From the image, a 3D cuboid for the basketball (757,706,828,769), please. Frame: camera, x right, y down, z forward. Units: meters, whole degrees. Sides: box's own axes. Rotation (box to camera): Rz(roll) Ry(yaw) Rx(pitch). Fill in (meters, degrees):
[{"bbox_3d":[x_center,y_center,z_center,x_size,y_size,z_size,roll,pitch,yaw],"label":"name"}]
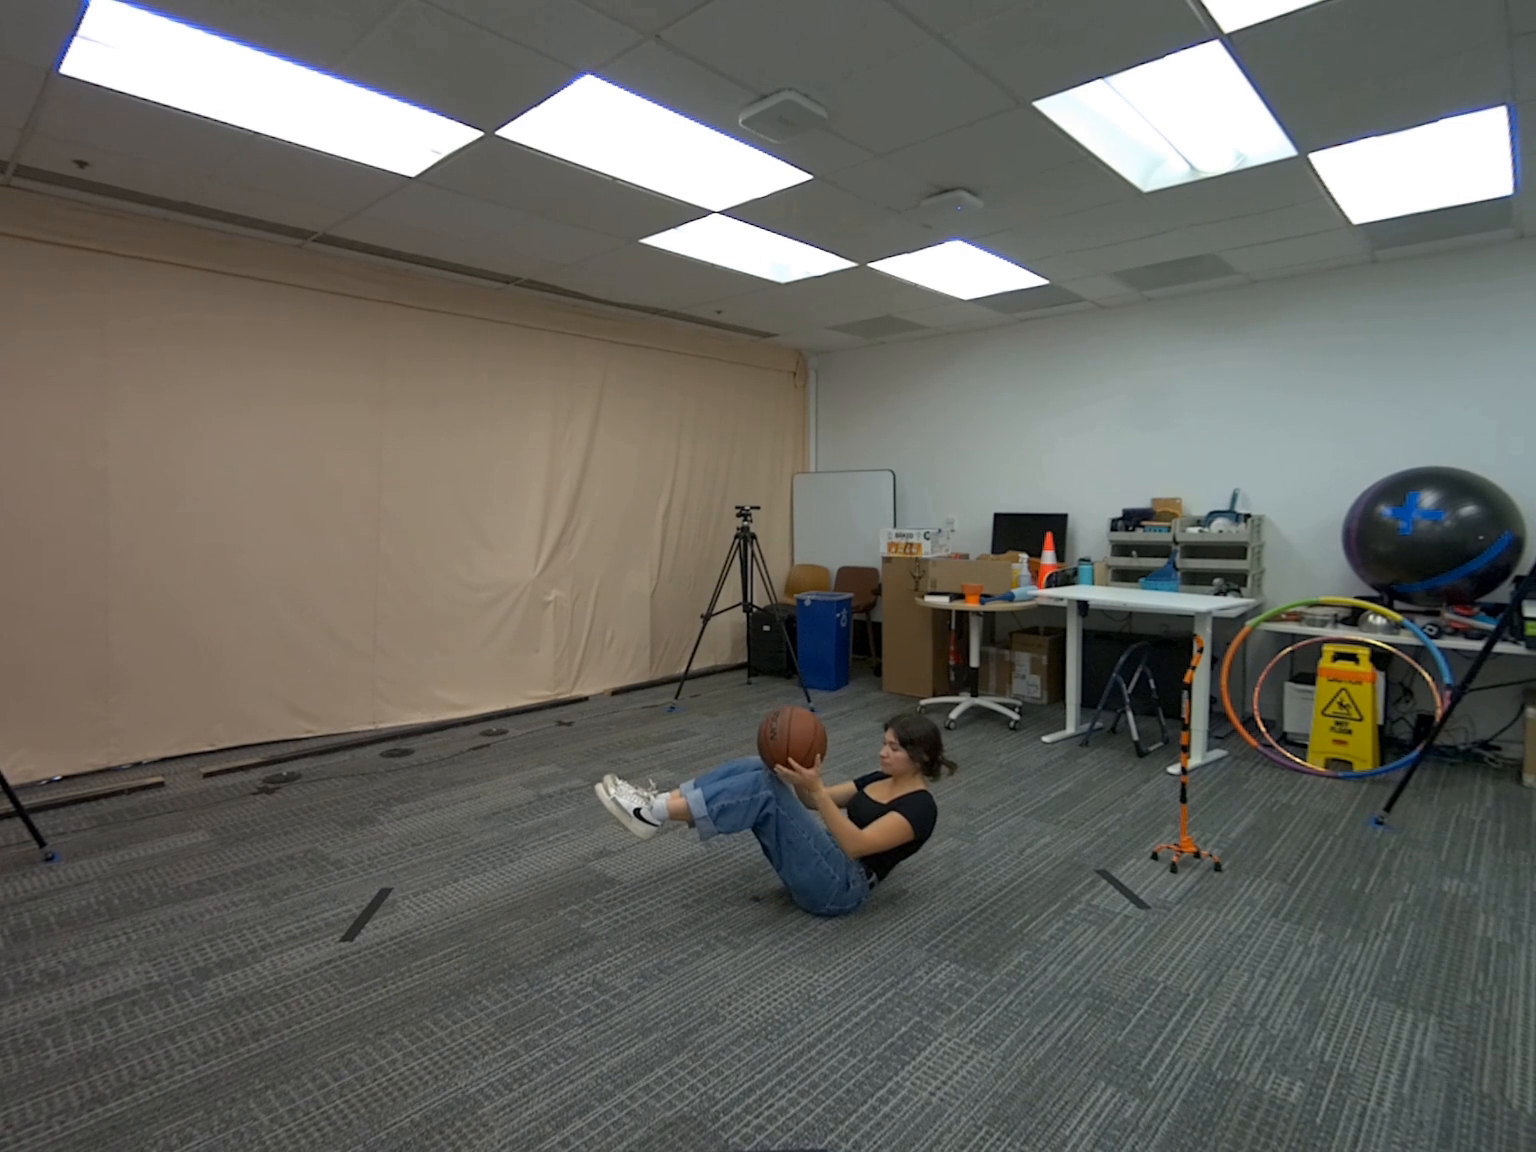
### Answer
[{"bbox_3d":[0.081,0.573,2.860,0.236,0.235,0.237,0,4,-2],"label":"basketball"}]
